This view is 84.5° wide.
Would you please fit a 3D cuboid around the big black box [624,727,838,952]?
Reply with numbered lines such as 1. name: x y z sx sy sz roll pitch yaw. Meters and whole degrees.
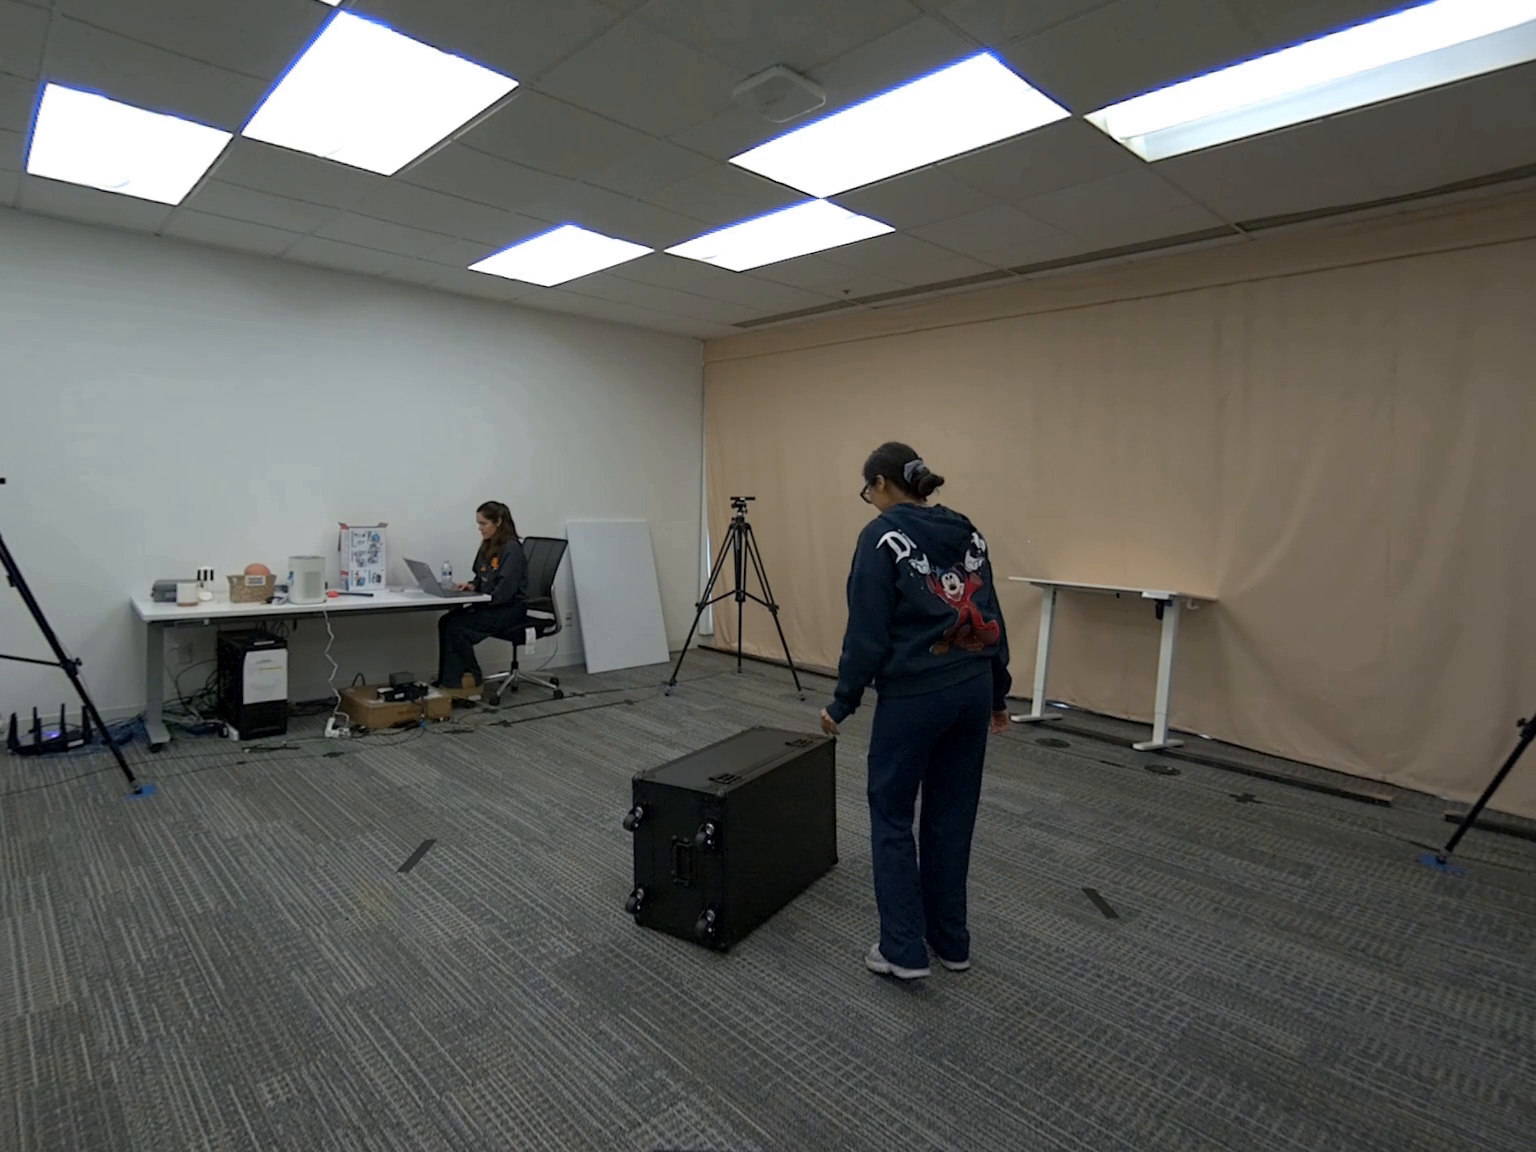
1. big black box: -0.120 0.866 2.945 0.405 0.520 0.845 1 3 31
